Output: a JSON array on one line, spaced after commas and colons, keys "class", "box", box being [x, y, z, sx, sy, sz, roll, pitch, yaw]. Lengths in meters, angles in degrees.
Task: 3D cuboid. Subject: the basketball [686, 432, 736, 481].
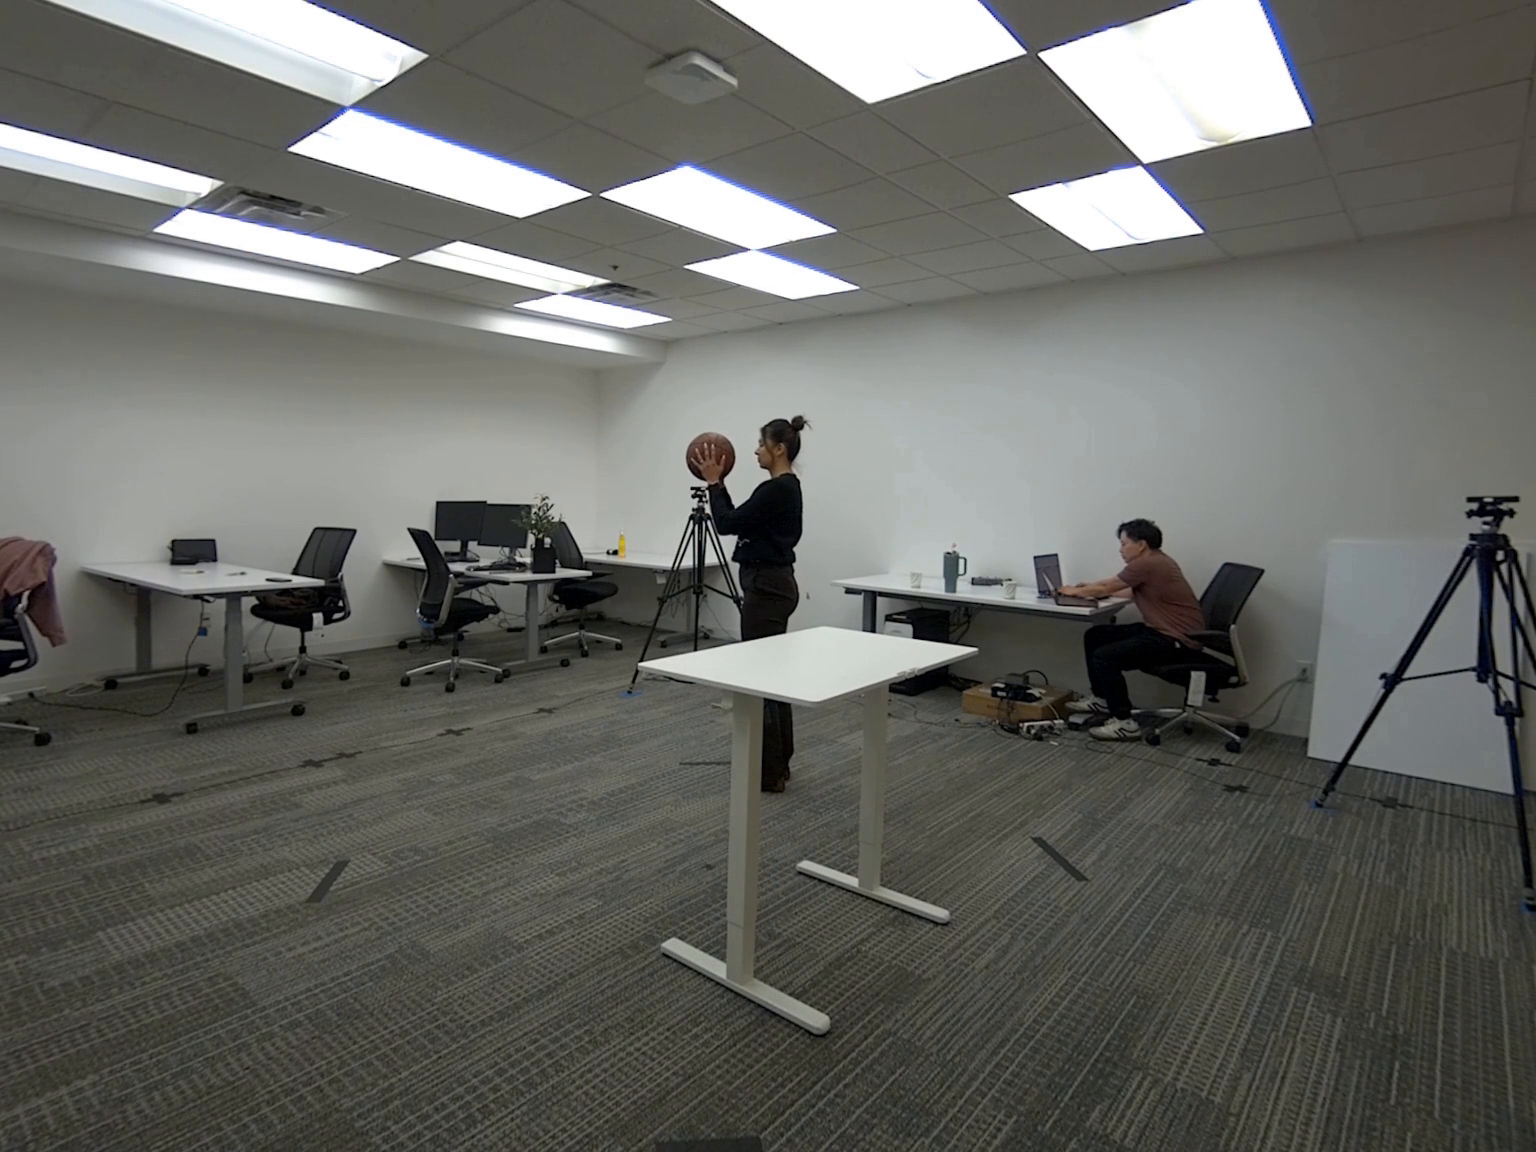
[{"class": "basketball", "box": [-0.286, -0.574, 4.056, 0.235, 0.235, 0.237, 1, 4, -2]}]
